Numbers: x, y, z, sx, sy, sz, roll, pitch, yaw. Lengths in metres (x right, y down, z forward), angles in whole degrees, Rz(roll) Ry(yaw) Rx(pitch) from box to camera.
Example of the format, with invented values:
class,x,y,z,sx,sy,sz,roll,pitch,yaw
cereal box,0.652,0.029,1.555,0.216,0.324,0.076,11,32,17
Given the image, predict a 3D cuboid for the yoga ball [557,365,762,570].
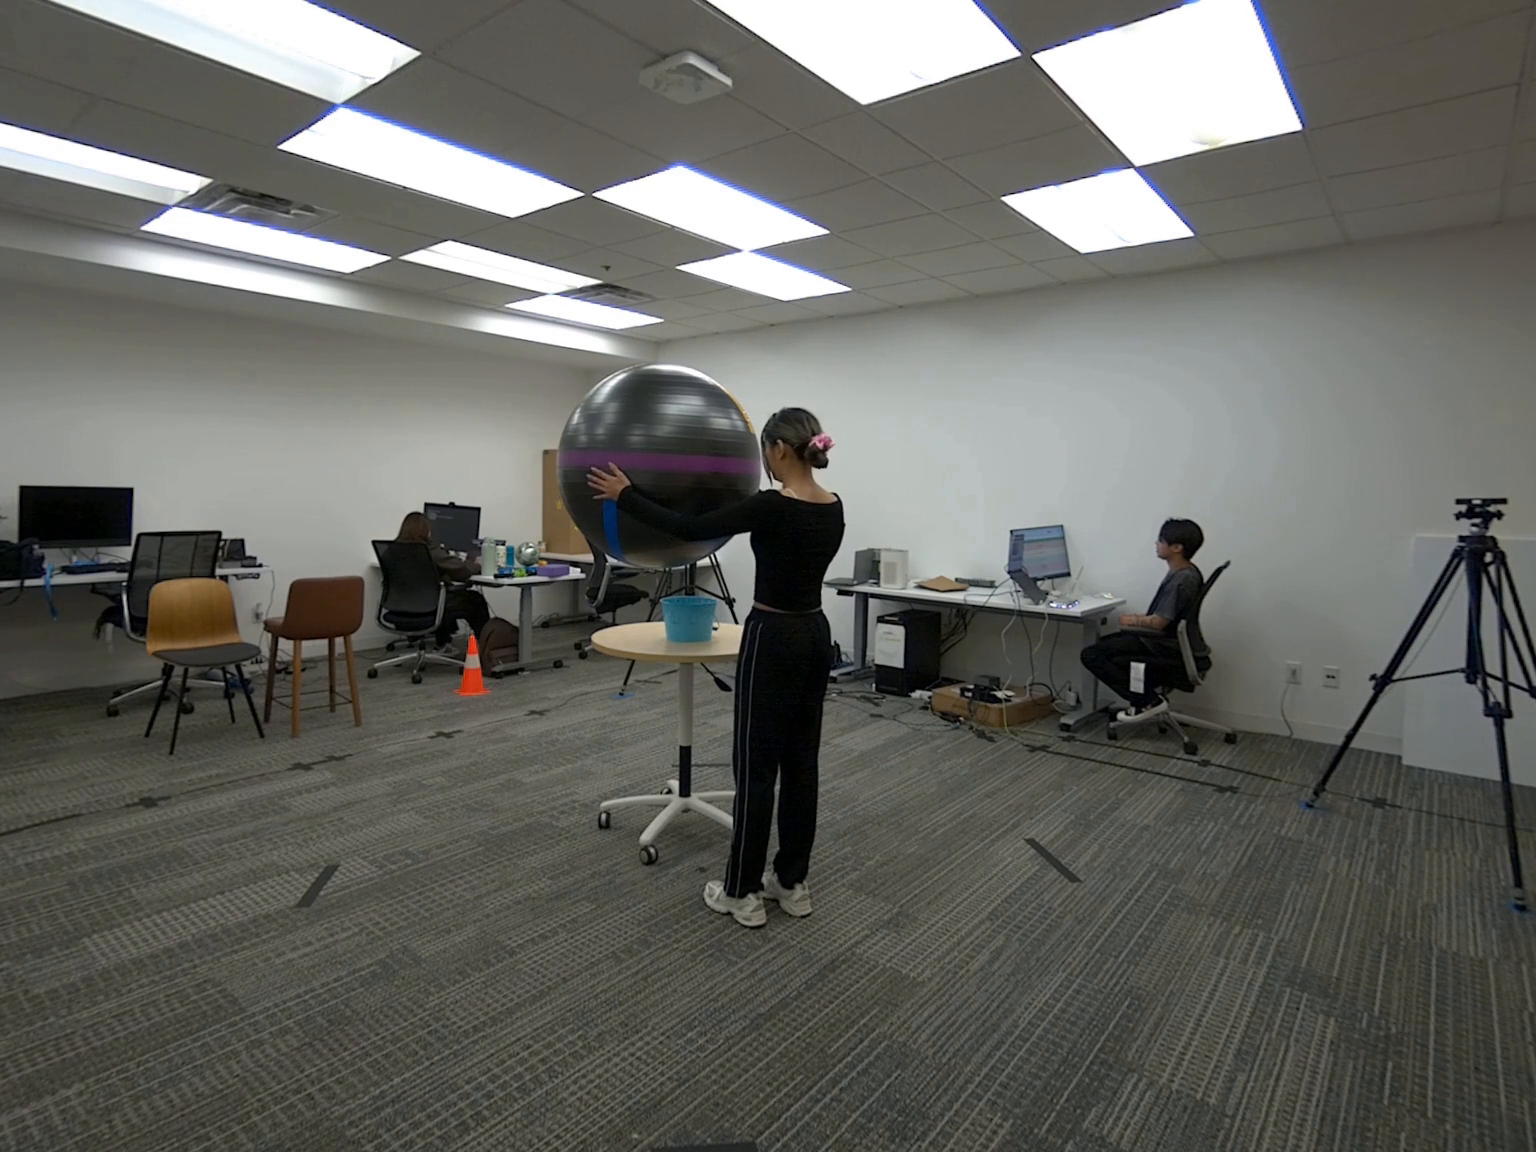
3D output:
class,x,y,z,sx,sy,sz,roll,pitch,yaw
yoga ball,-0.421,-0.409,3.179,0.757,0.756,0.762,1,4,-2
